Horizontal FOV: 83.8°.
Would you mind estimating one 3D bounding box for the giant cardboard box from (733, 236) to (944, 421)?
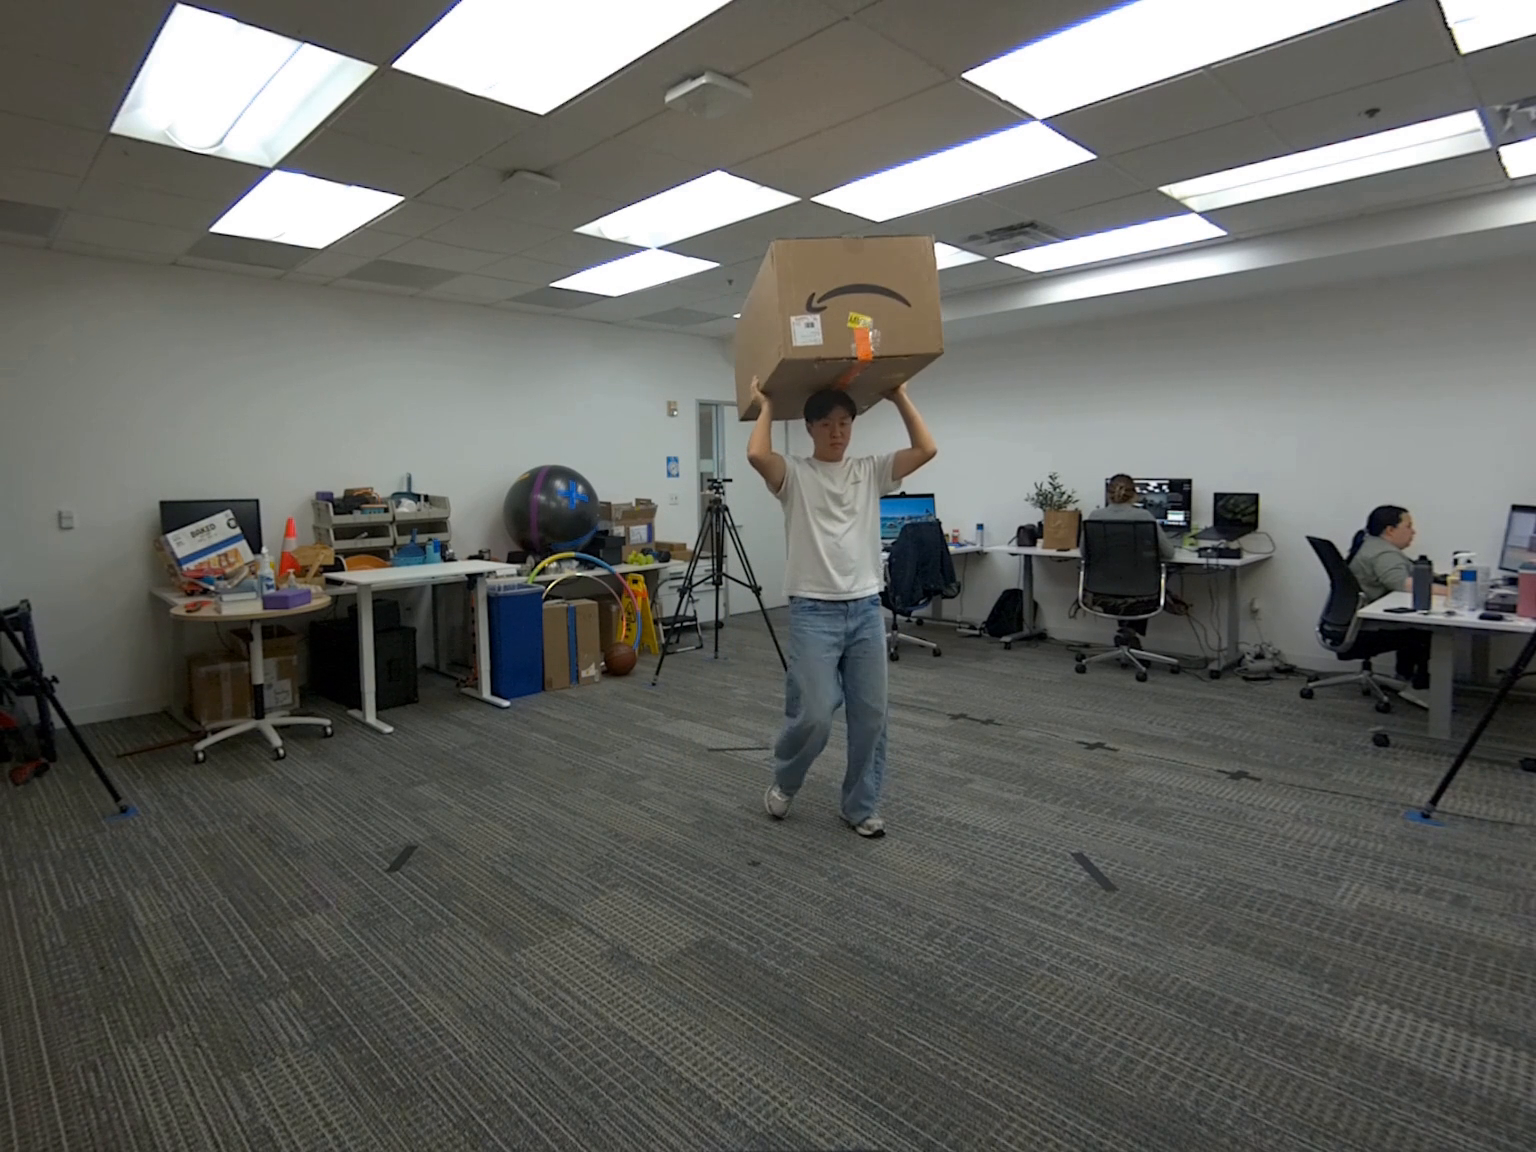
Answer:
[{"bbox_3d":[0.222,-0.944,3.412,0.573,0.427,1.031,-5,-2,-9],"label":"giant cardboard box"}]
